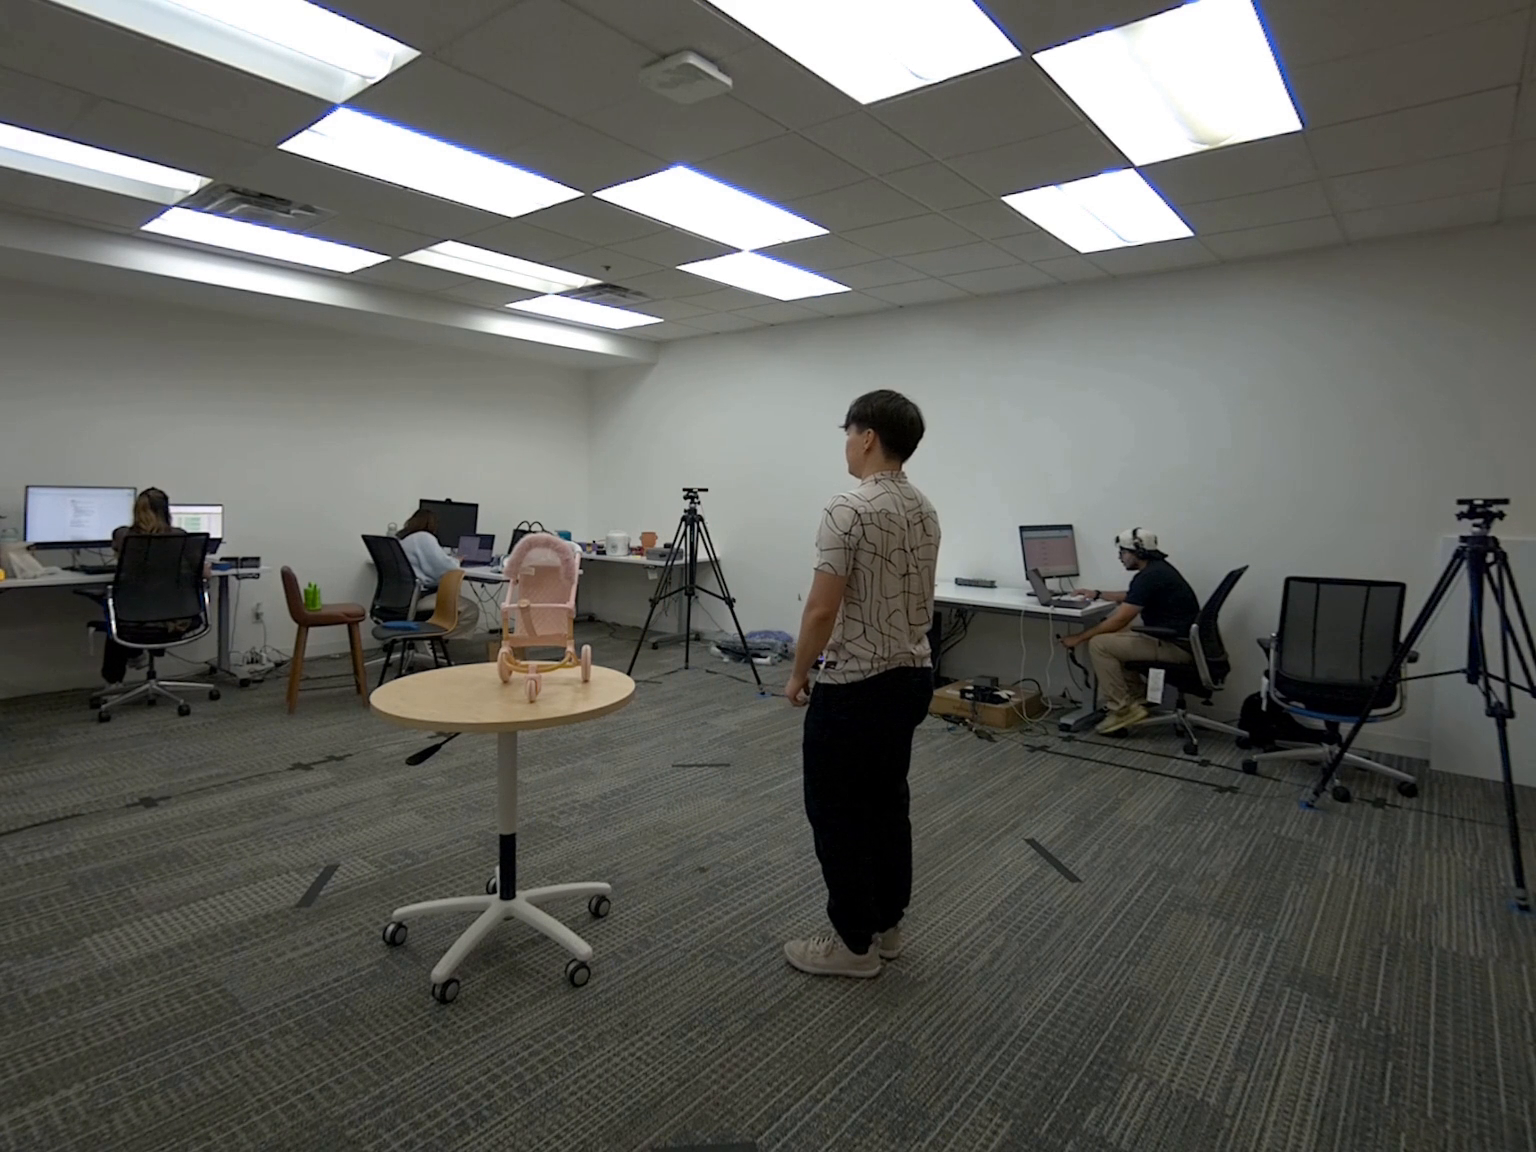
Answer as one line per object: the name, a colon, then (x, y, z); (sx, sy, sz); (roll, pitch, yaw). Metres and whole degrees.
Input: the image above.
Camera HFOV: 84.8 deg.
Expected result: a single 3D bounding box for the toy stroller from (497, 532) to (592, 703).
toy stroller: (-0.693, 0.109, 2.563); (0.281, 0.542, 0.337); (0, -13, -1)
